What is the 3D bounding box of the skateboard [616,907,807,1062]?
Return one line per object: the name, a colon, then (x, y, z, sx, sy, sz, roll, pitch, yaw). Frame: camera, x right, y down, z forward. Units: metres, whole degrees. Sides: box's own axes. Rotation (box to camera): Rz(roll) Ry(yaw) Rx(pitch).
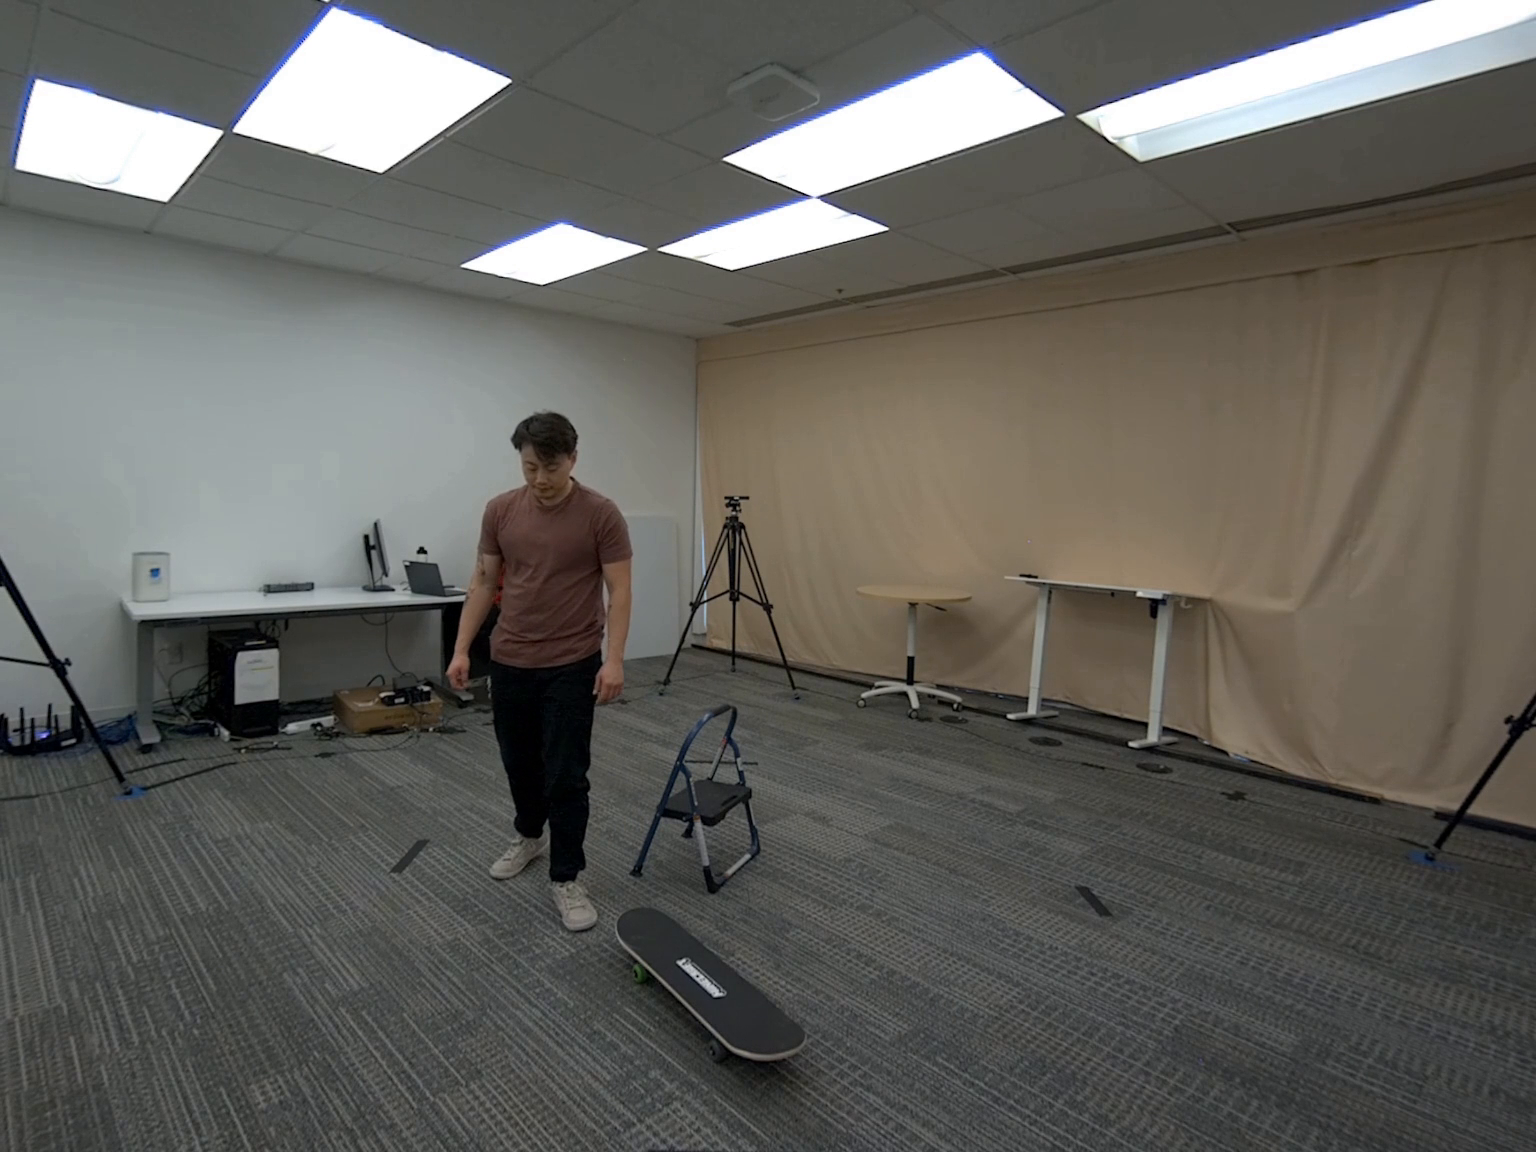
skateboard: (-0.199, 1.128, 2.287, 0.189, 0.110, 0.805, -2, 7, -36)
